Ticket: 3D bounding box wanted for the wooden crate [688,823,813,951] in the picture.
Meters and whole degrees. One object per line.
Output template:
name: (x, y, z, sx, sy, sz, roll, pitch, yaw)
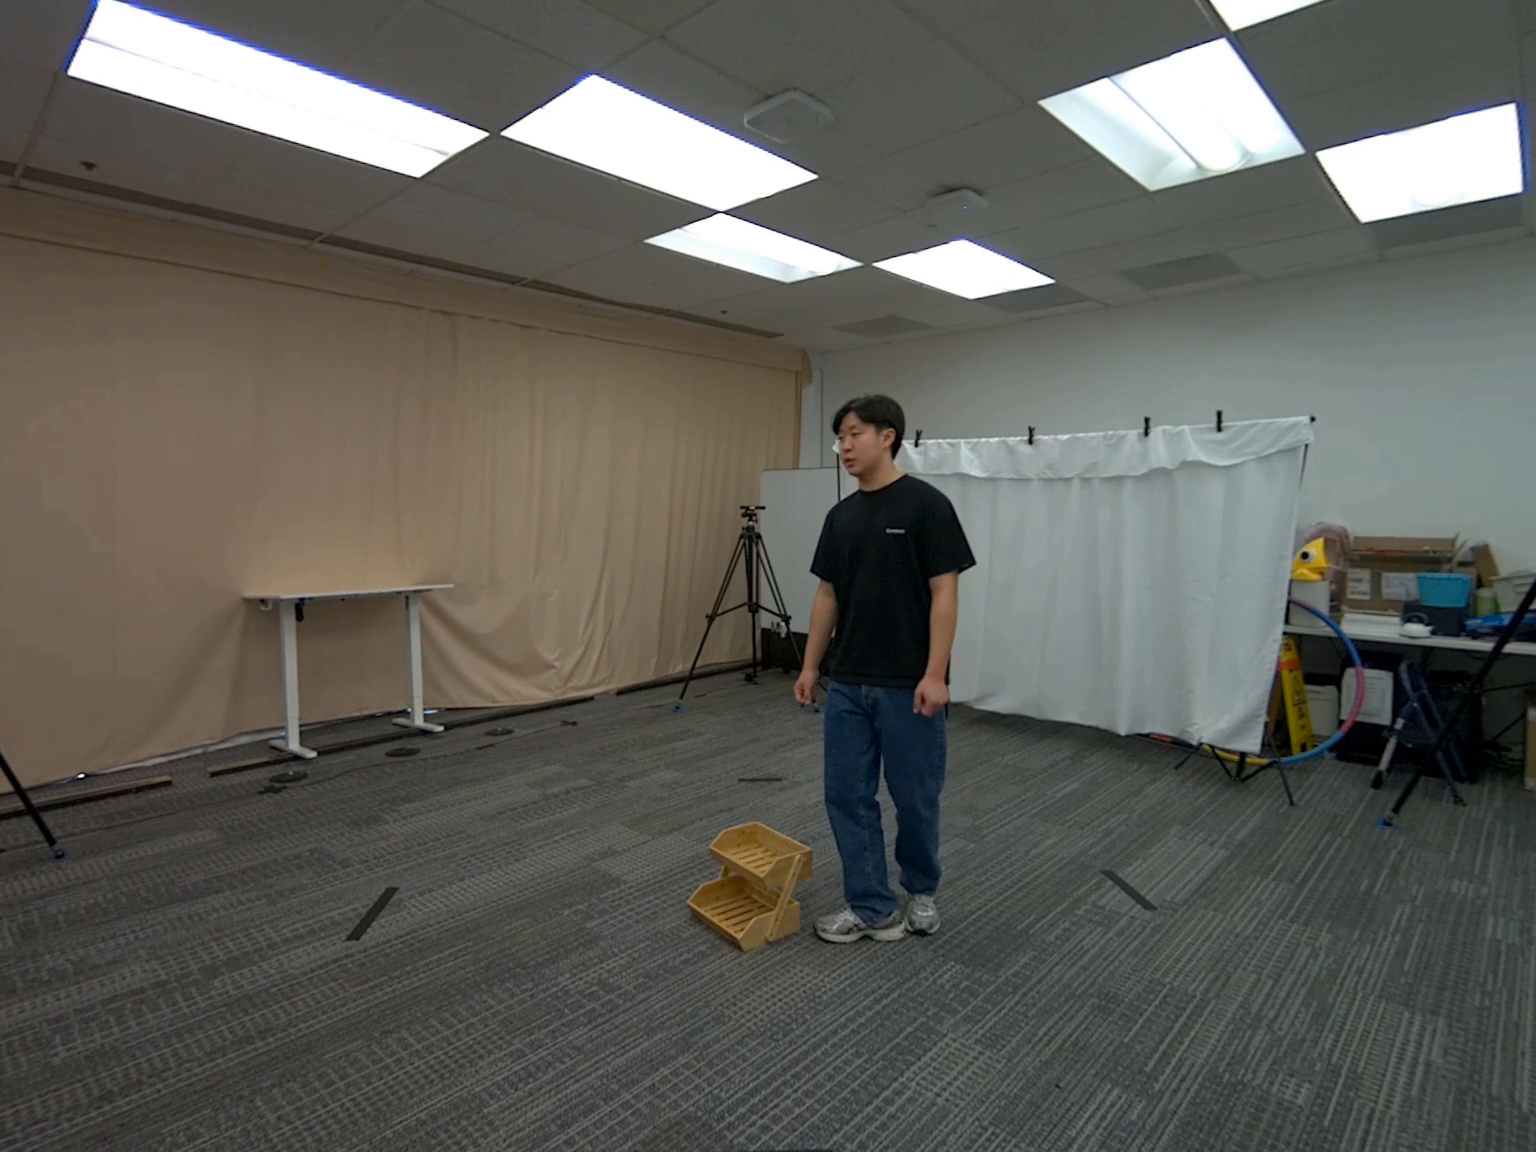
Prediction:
wooden crate: (-0.061, 1.025, 2.818, 0.293, 0.273, 0.335, -2, 4, -37)
